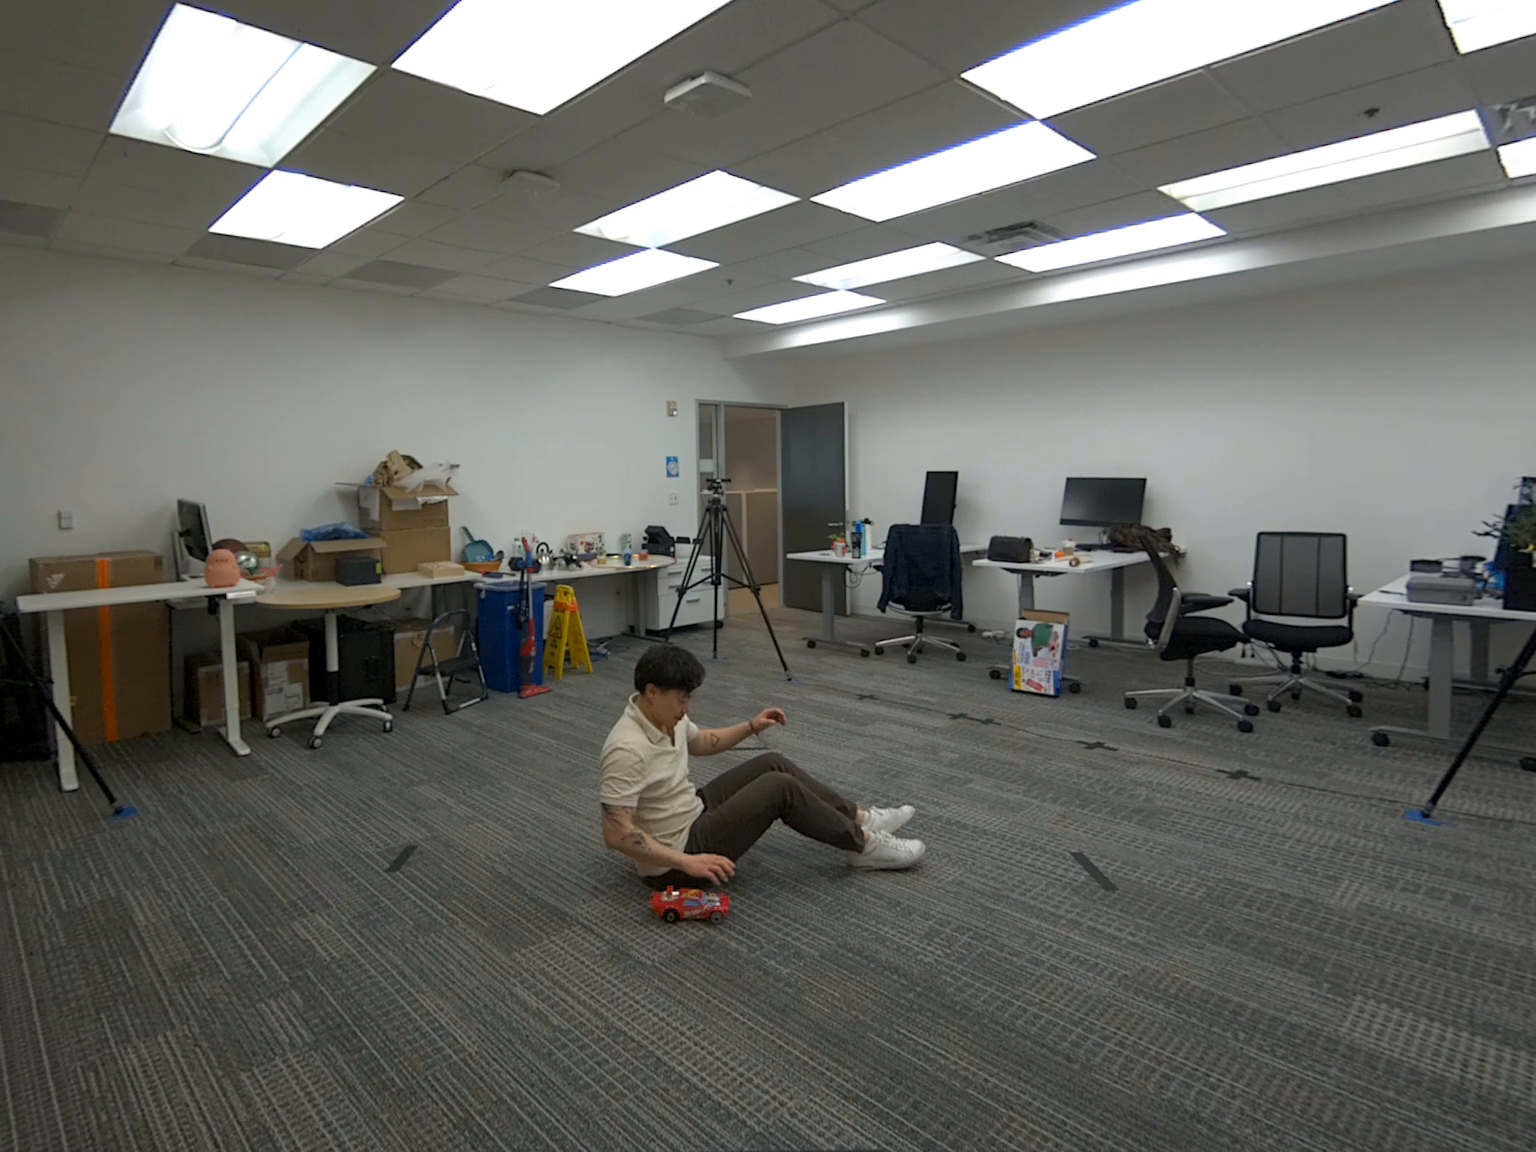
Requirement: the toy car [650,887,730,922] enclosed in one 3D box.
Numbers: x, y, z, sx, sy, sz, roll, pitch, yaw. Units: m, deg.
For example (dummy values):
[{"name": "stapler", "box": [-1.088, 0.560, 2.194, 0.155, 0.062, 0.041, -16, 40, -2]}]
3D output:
[{"name": "toy car", "box": [-0.258, 1.064, 2.743, 0.255, 0.083, 0.130, 9, 6, 2]}]
